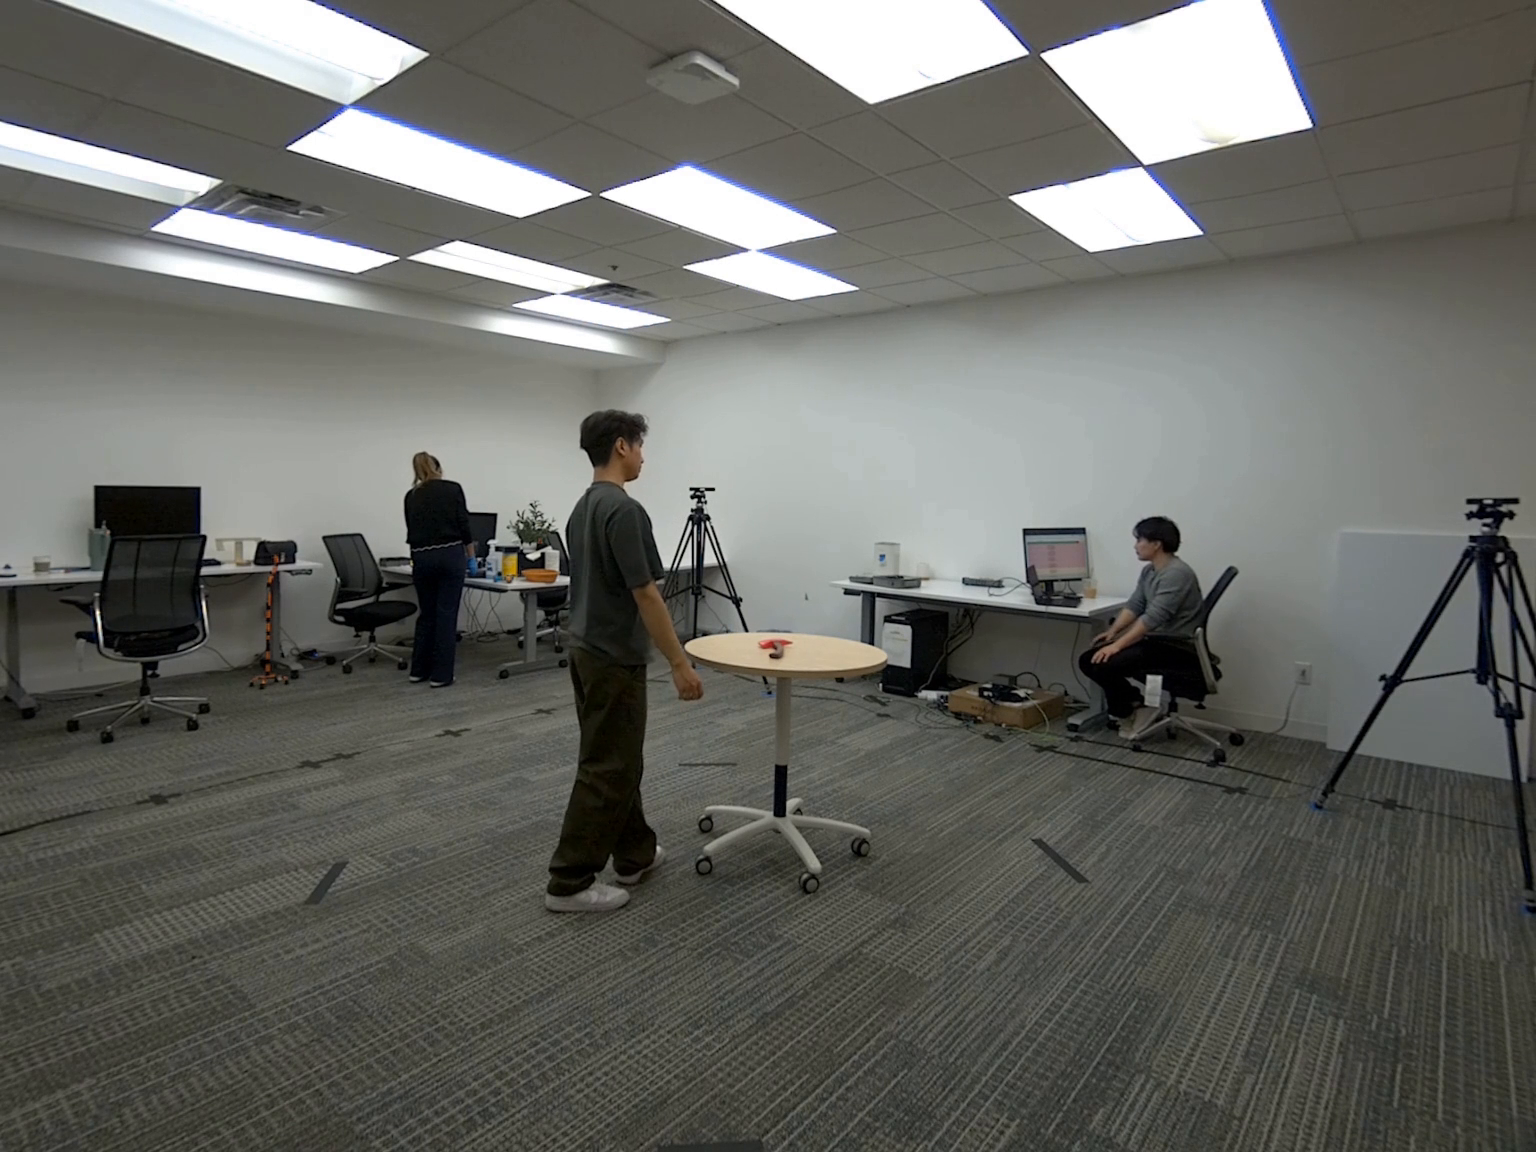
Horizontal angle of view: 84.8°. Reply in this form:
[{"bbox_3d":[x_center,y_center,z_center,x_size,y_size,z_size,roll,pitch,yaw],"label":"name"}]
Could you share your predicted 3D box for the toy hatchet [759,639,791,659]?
[{"bbox_3d":[-0.002,0.270,3.175,0.133,0.029,0.267,3,6,12],"label":"toy hatchet"}]
